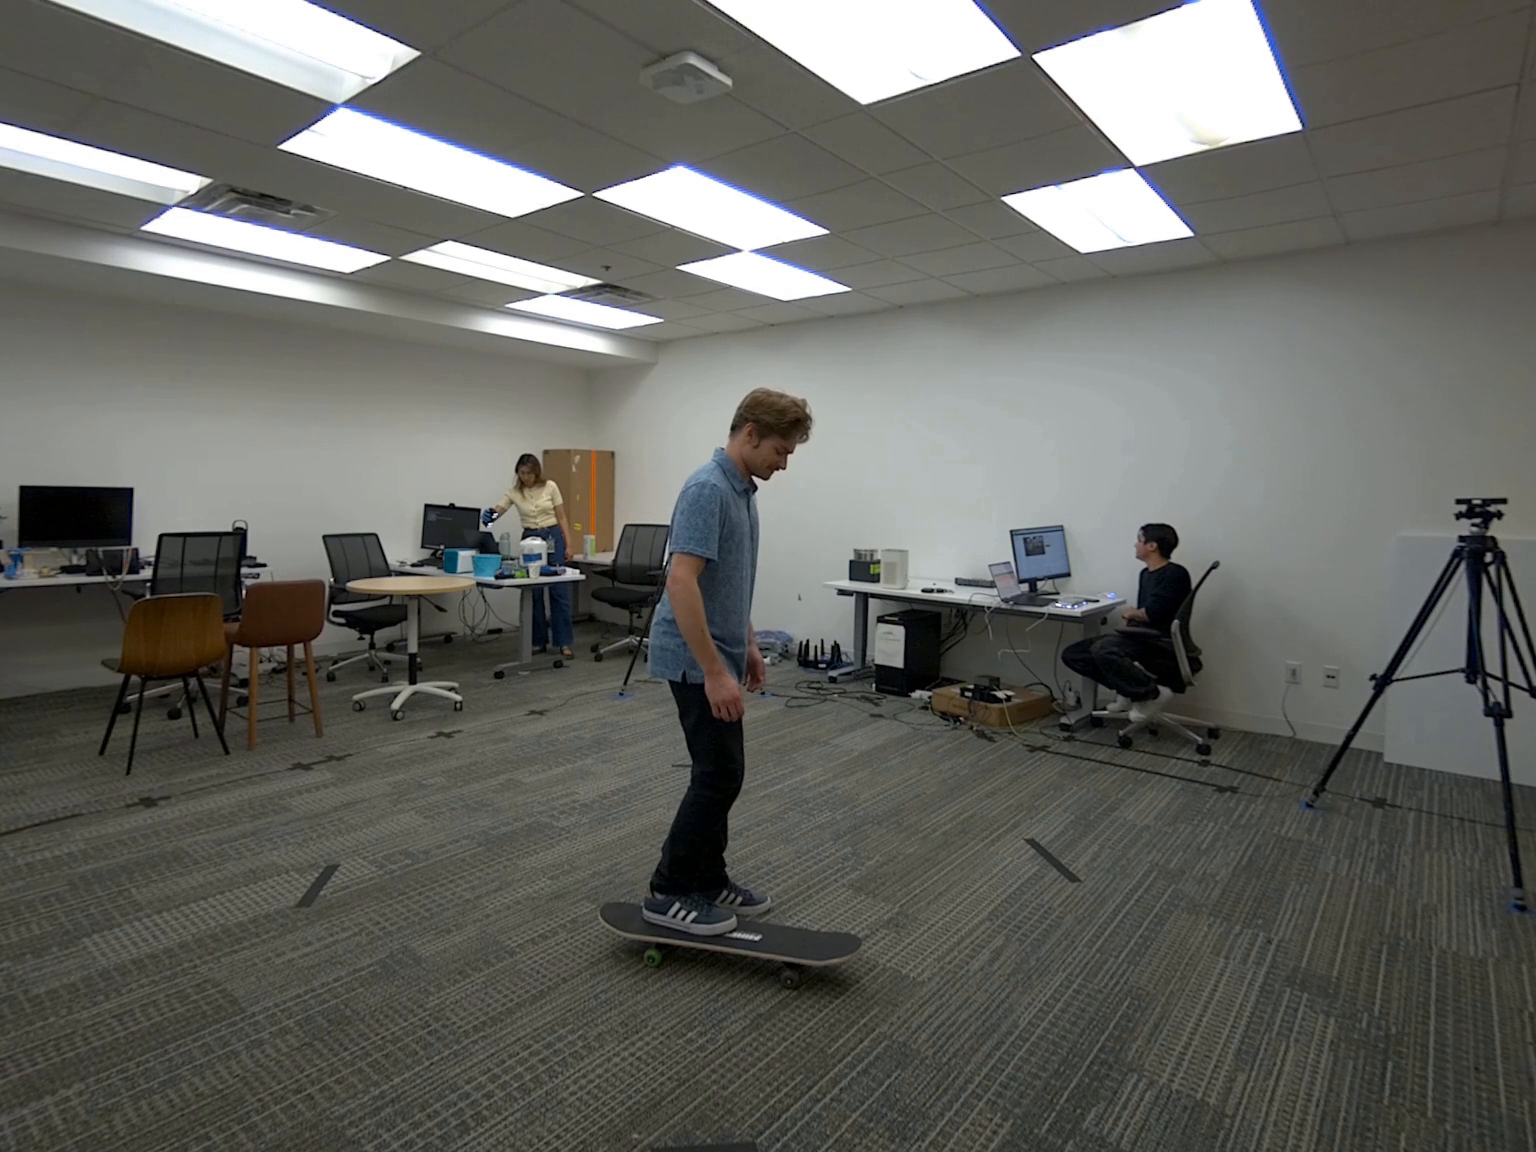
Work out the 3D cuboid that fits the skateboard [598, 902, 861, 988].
[{"bbox_3d":[-0.124,1.074,2.496,0.795,0.110,0.191,2,1,11],"label":"skateboard"}]
